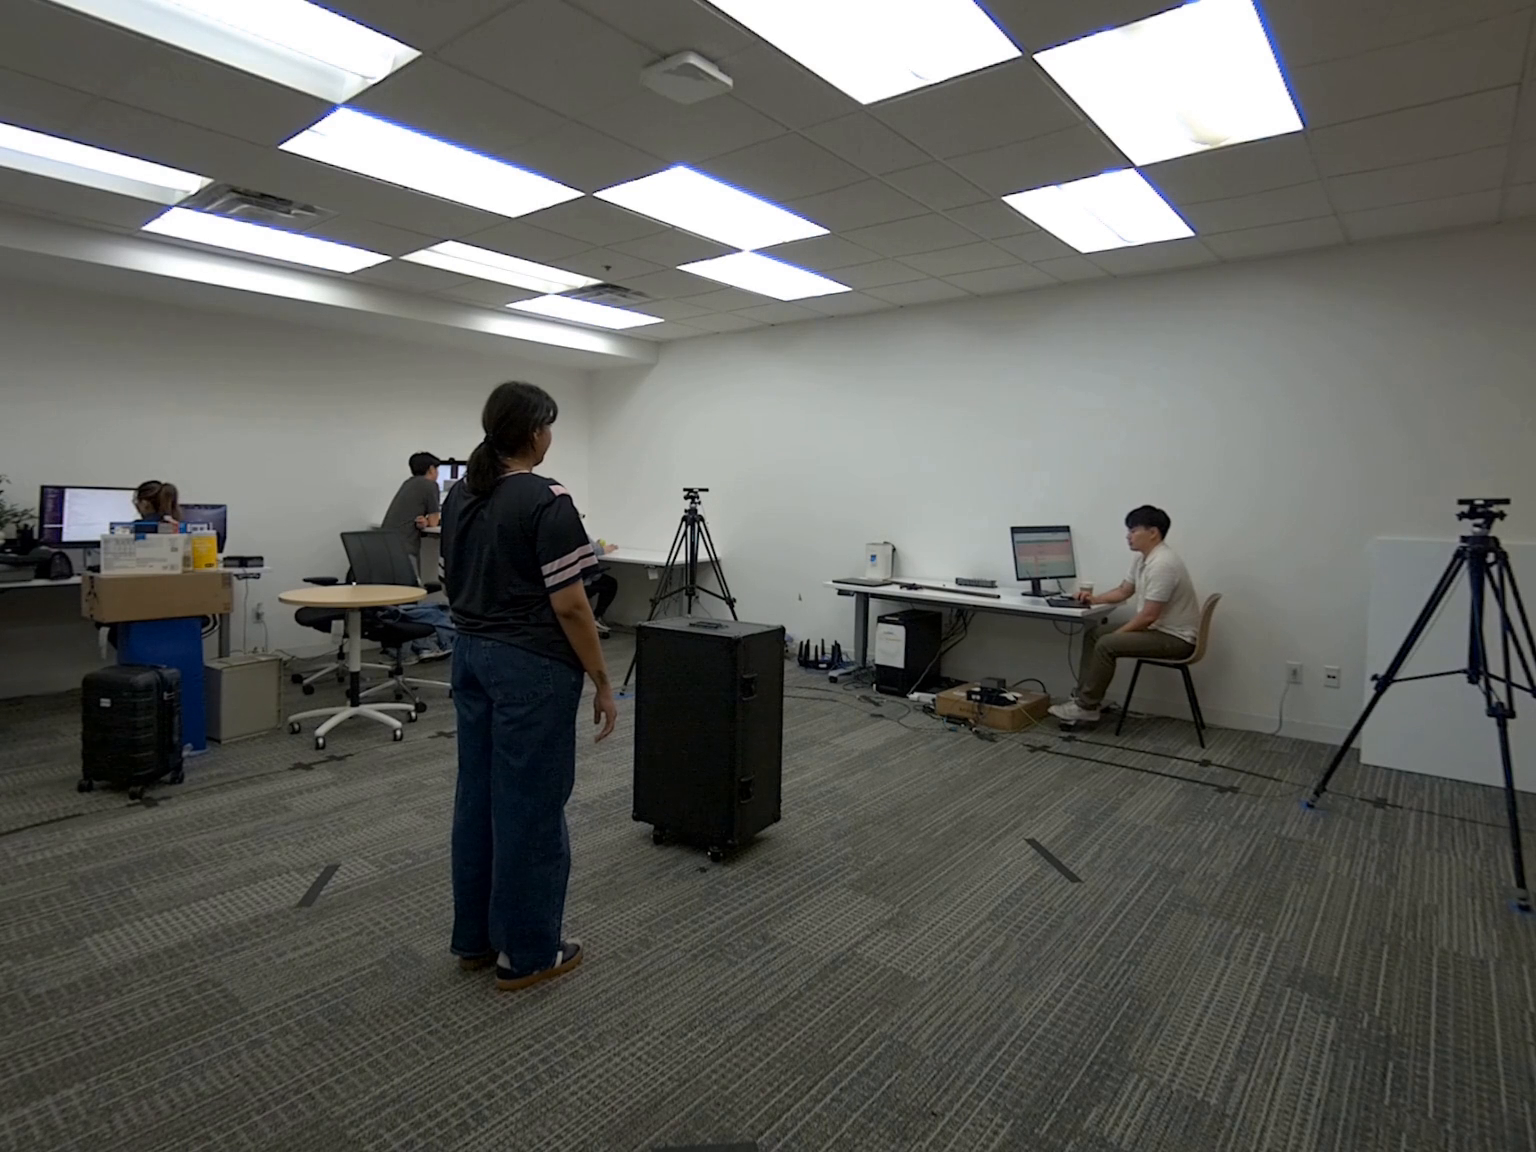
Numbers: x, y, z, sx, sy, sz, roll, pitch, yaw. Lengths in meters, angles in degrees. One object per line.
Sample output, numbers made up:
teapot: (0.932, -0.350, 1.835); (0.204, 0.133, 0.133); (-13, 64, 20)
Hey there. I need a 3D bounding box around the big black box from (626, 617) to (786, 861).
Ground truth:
big black box: (-0.250, 0.620, 3.390); (0.539, 0.867, 0.374); (3, 3, 32)
